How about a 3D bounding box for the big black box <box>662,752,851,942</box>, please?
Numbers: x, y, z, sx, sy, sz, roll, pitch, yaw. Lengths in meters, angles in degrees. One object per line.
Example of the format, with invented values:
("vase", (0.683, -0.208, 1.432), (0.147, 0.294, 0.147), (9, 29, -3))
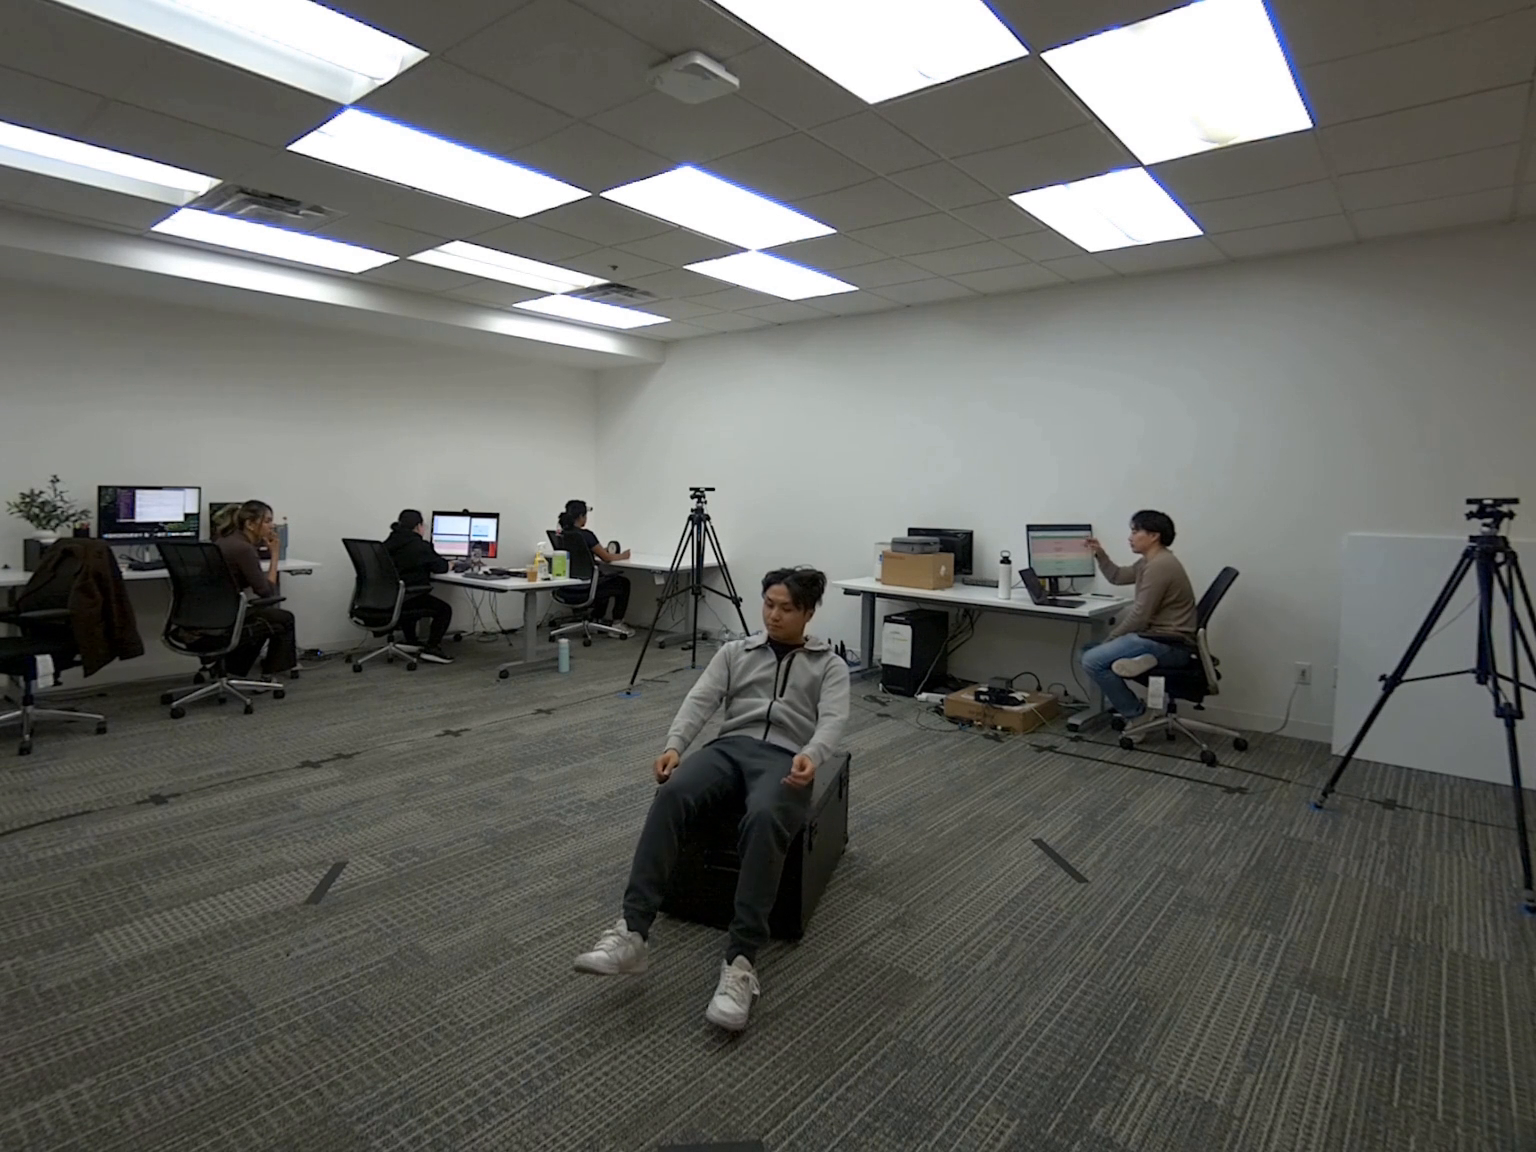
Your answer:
("big black box", (-0.043, 0.892, 2.995), (0.532, 0.395, 0.847), (2, 5, 17))
